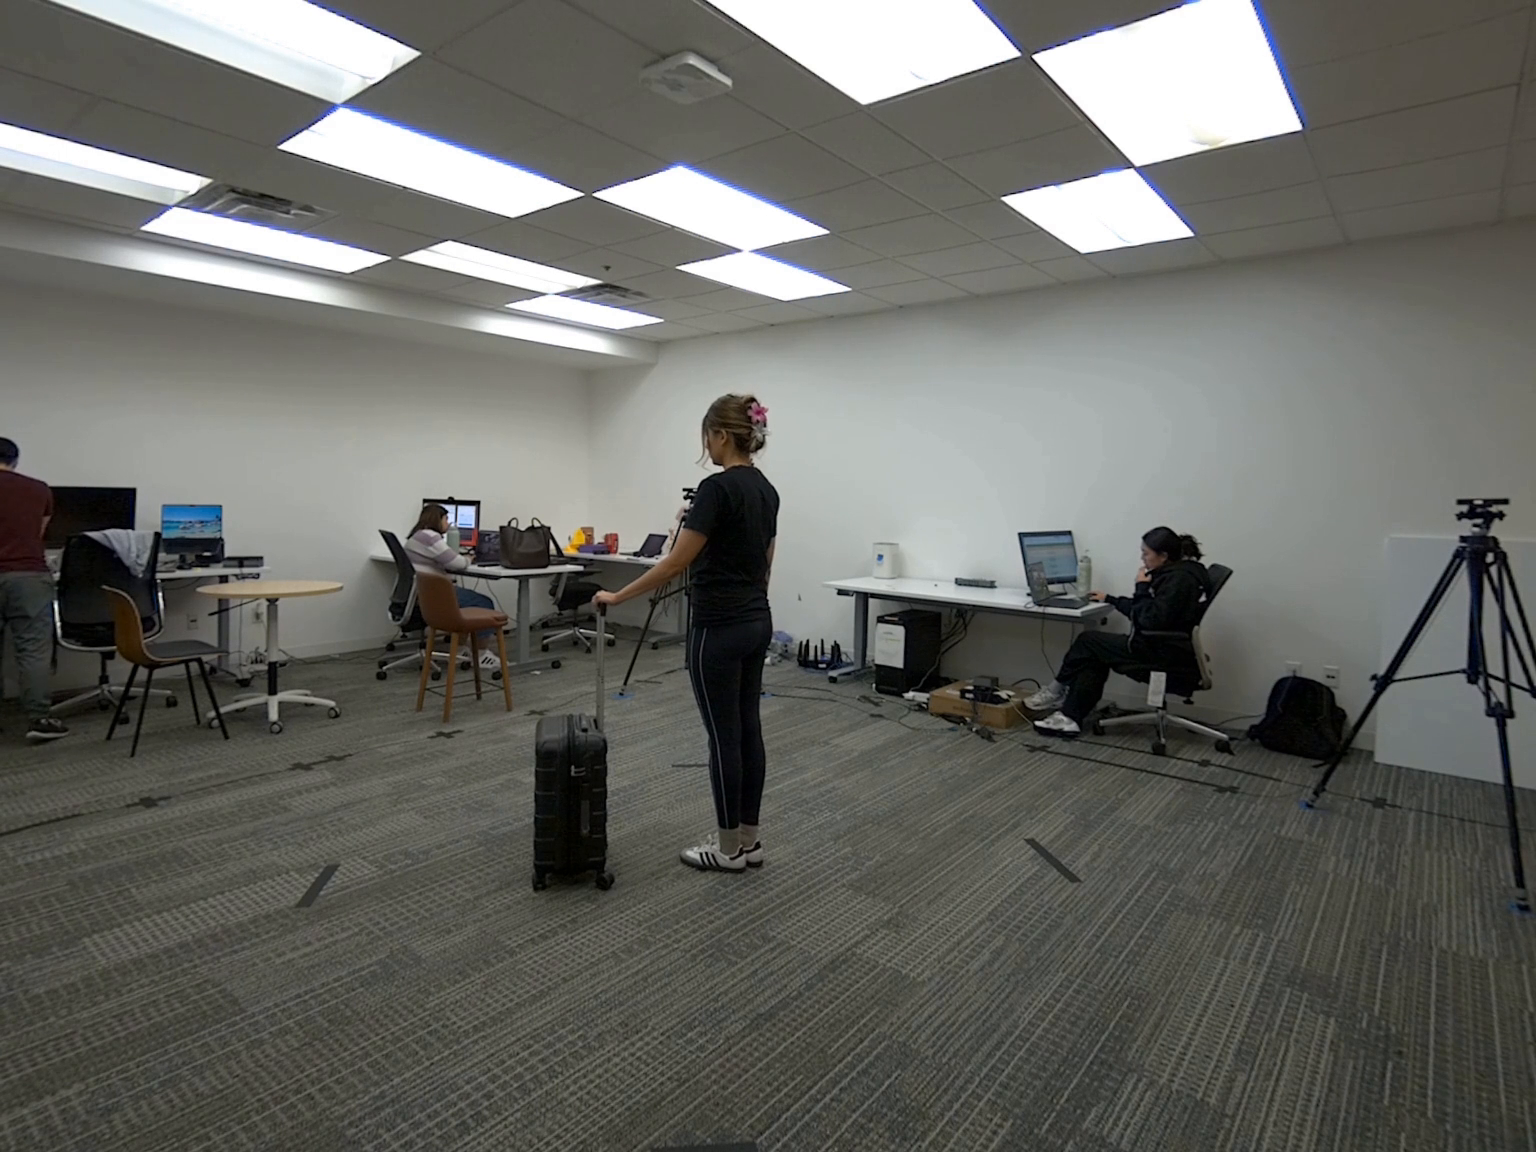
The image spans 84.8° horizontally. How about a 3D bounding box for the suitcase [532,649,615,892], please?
[{"bbox_3d":[-0.728,0.589,3.059,0.254,0.976,0.389,-3,3,-12],"label":"suitcase"}]
